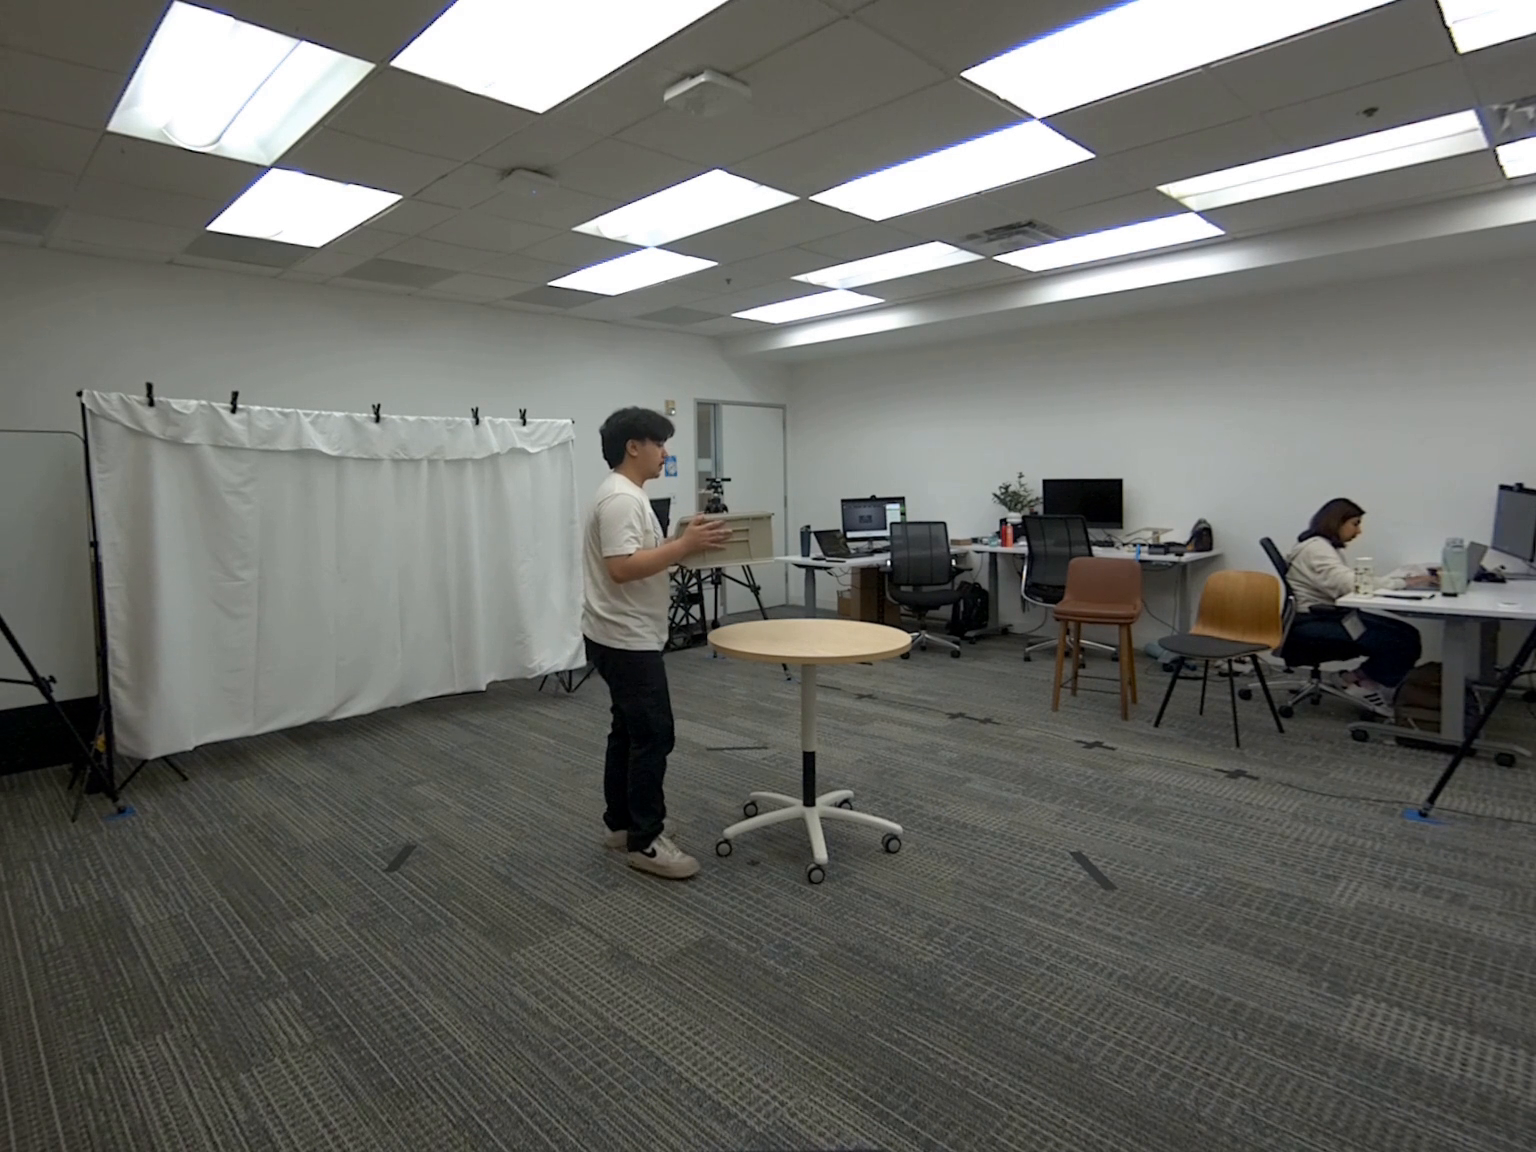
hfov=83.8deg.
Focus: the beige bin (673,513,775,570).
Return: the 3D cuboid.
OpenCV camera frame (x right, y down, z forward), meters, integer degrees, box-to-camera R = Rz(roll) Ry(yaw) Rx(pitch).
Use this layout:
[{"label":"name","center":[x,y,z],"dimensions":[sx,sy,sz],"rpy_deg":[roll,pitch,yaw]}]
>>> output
[{"label":"beige bin","center":[-0.178,-0.131,3.223],"dimensions":[0.376,0.188,0.426],"rpy_deg":[-3,5,-5]}]
